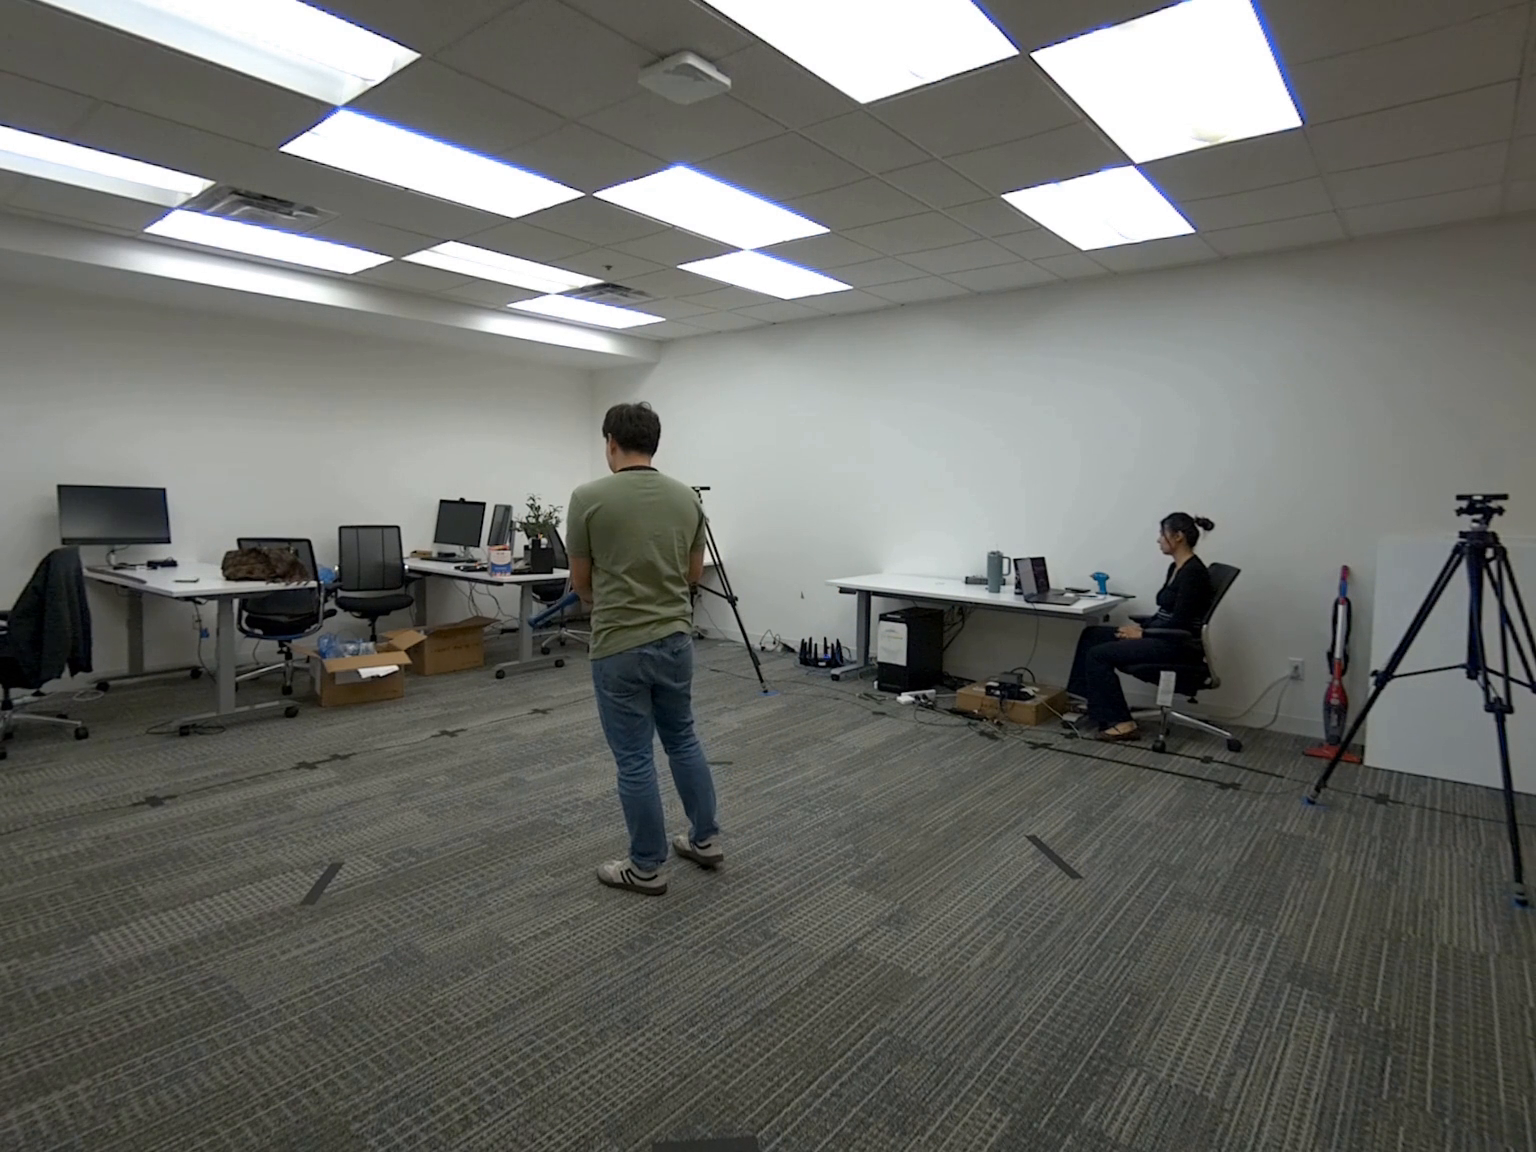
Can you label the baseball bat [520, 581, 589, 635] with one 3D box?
[{"bbox_3d":[-0.715,0.053,3.244,0.547,0.090,0.087,-31,-6,19],"label":"baseball bat"}]
